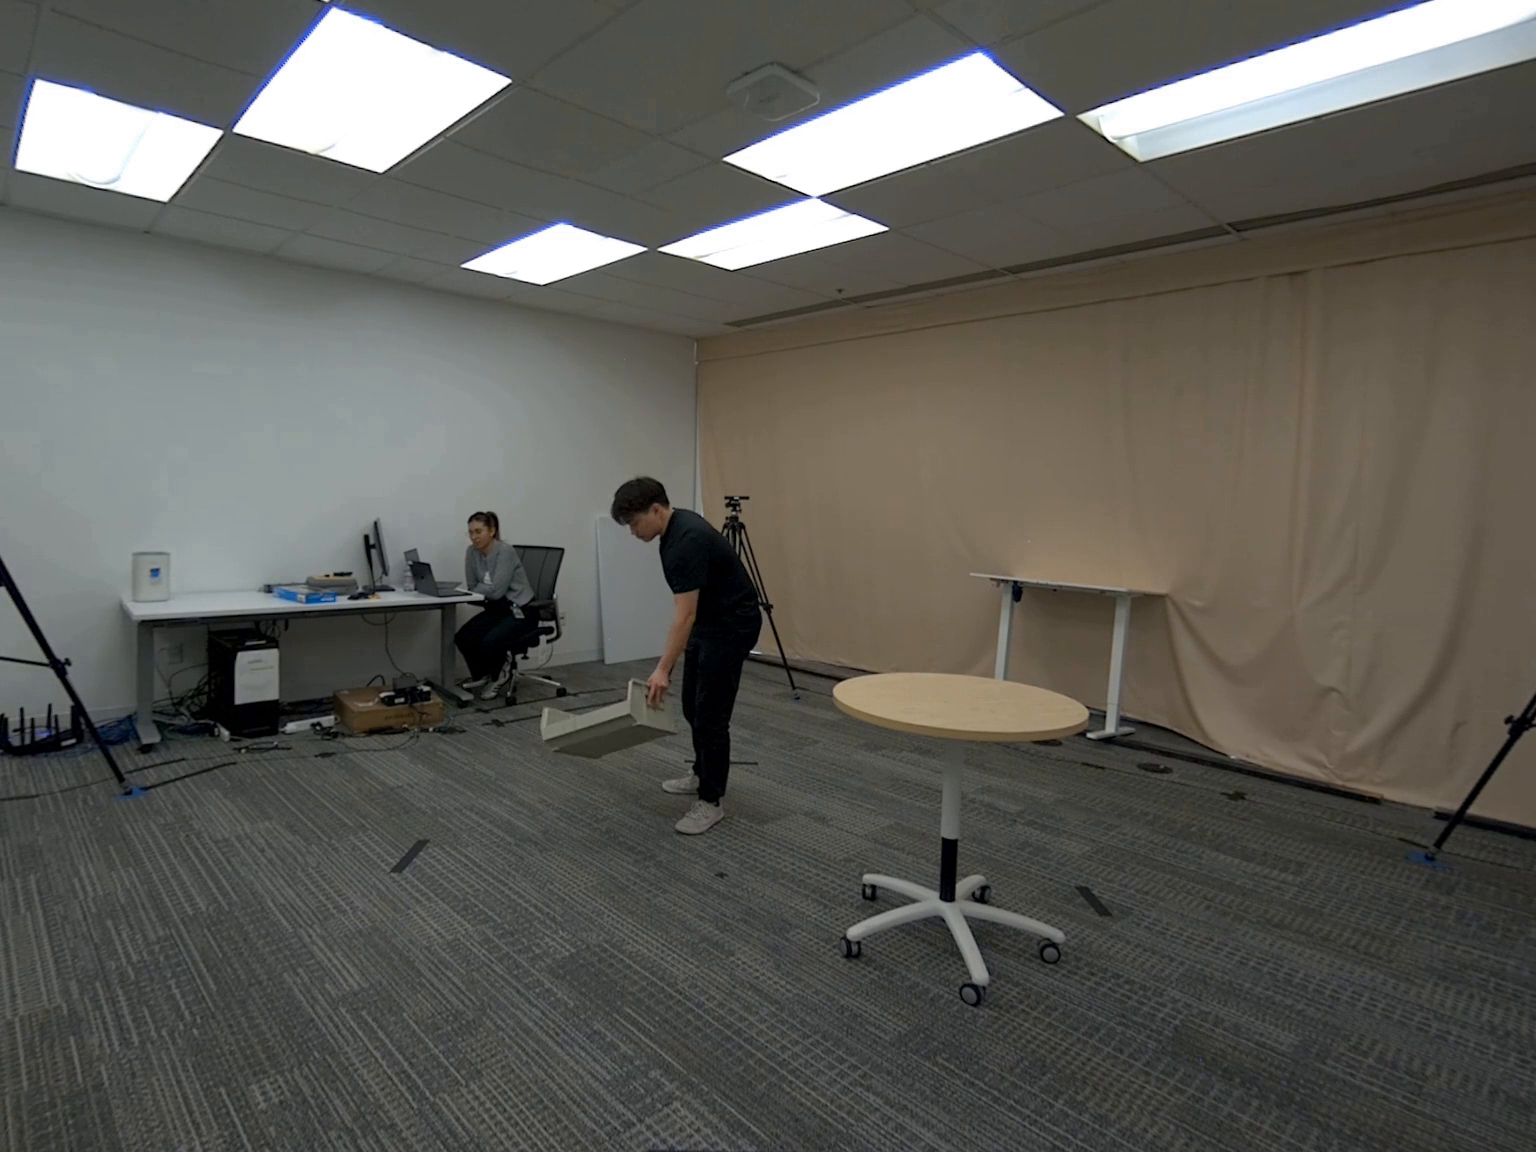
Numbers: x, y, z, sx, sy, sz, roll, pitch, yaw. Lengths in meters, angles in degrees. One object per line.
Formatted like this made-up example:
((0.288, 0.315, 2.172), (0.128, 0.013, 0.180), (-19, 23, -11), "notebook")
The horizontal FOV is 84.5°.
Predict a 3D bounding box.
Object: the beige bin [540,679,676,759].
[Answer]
((-0.641, 0.580, 3.385), (0.426, 0.192, 0.366), (-17, -25, 19), "beige bin")
